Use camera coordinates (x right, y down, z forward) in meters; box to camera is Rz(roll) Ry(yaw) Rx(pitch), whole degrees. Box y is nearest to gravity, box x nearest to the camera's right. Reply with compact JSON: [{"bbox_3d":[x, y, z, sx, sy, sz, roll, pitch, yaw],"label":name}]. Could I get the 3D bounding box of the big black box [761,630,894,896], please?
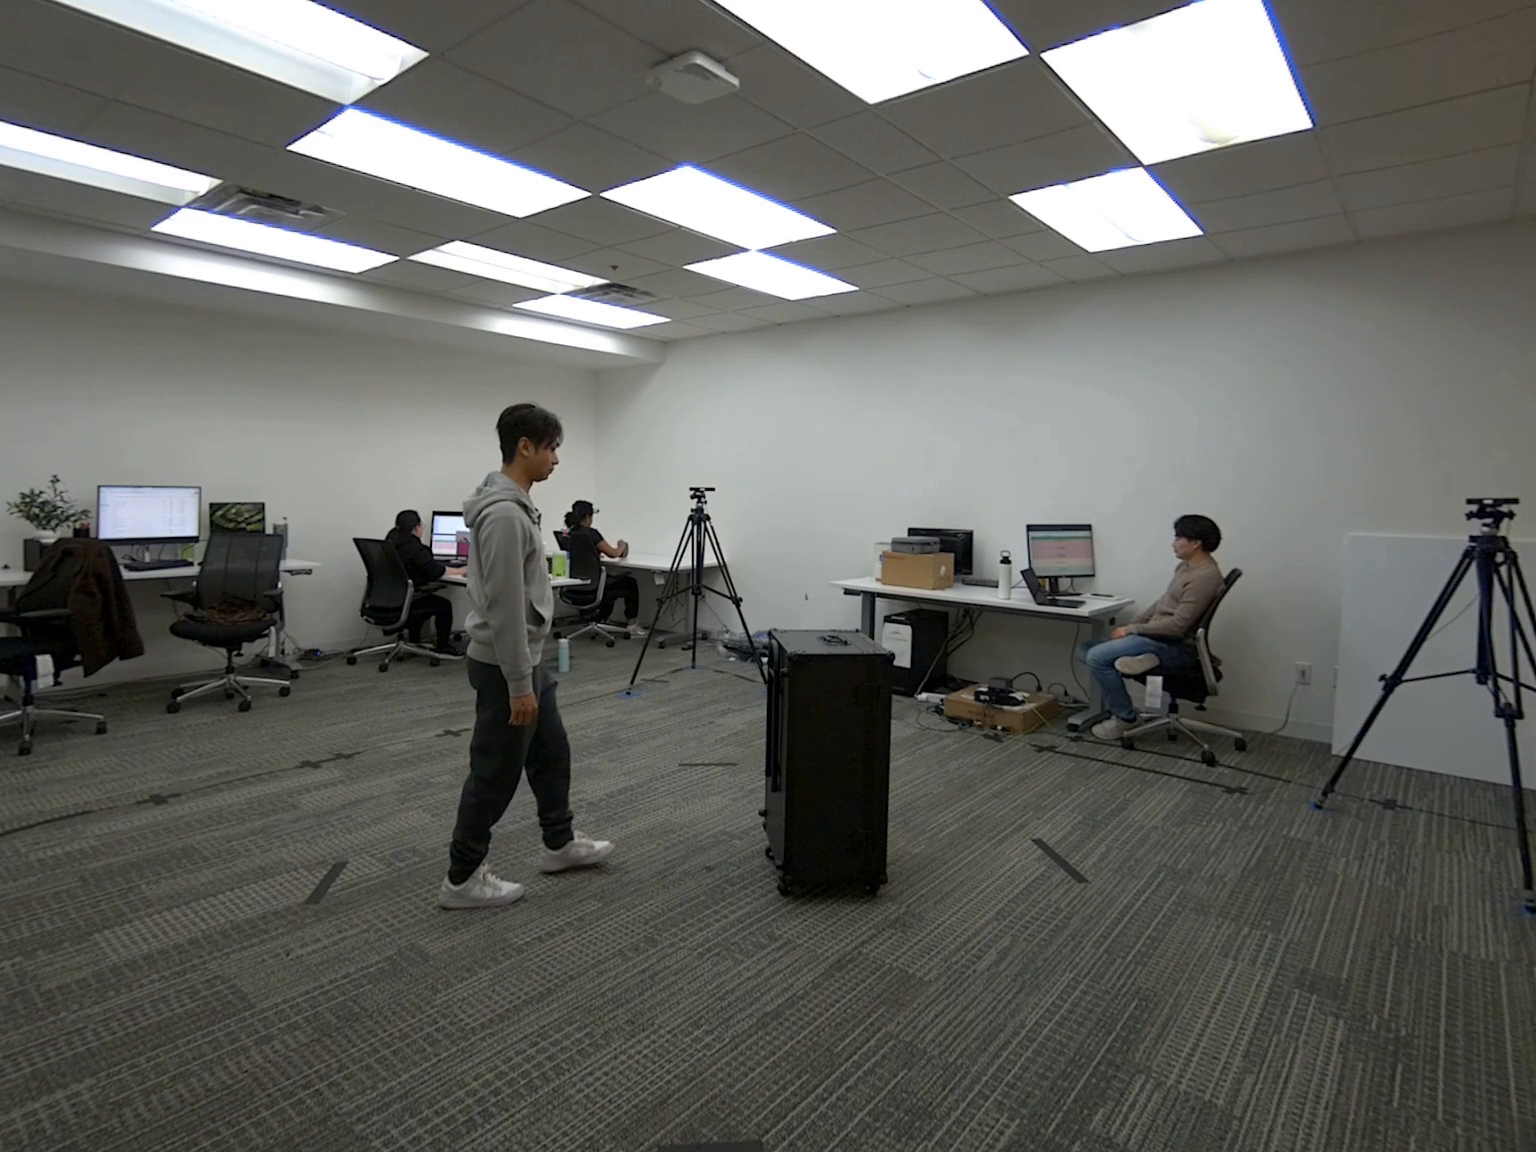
[{"bbox_3d":[0.186,0.661,3.065,0.394,0.858,0.527,0,5,-7],"label":"big black box"}]
